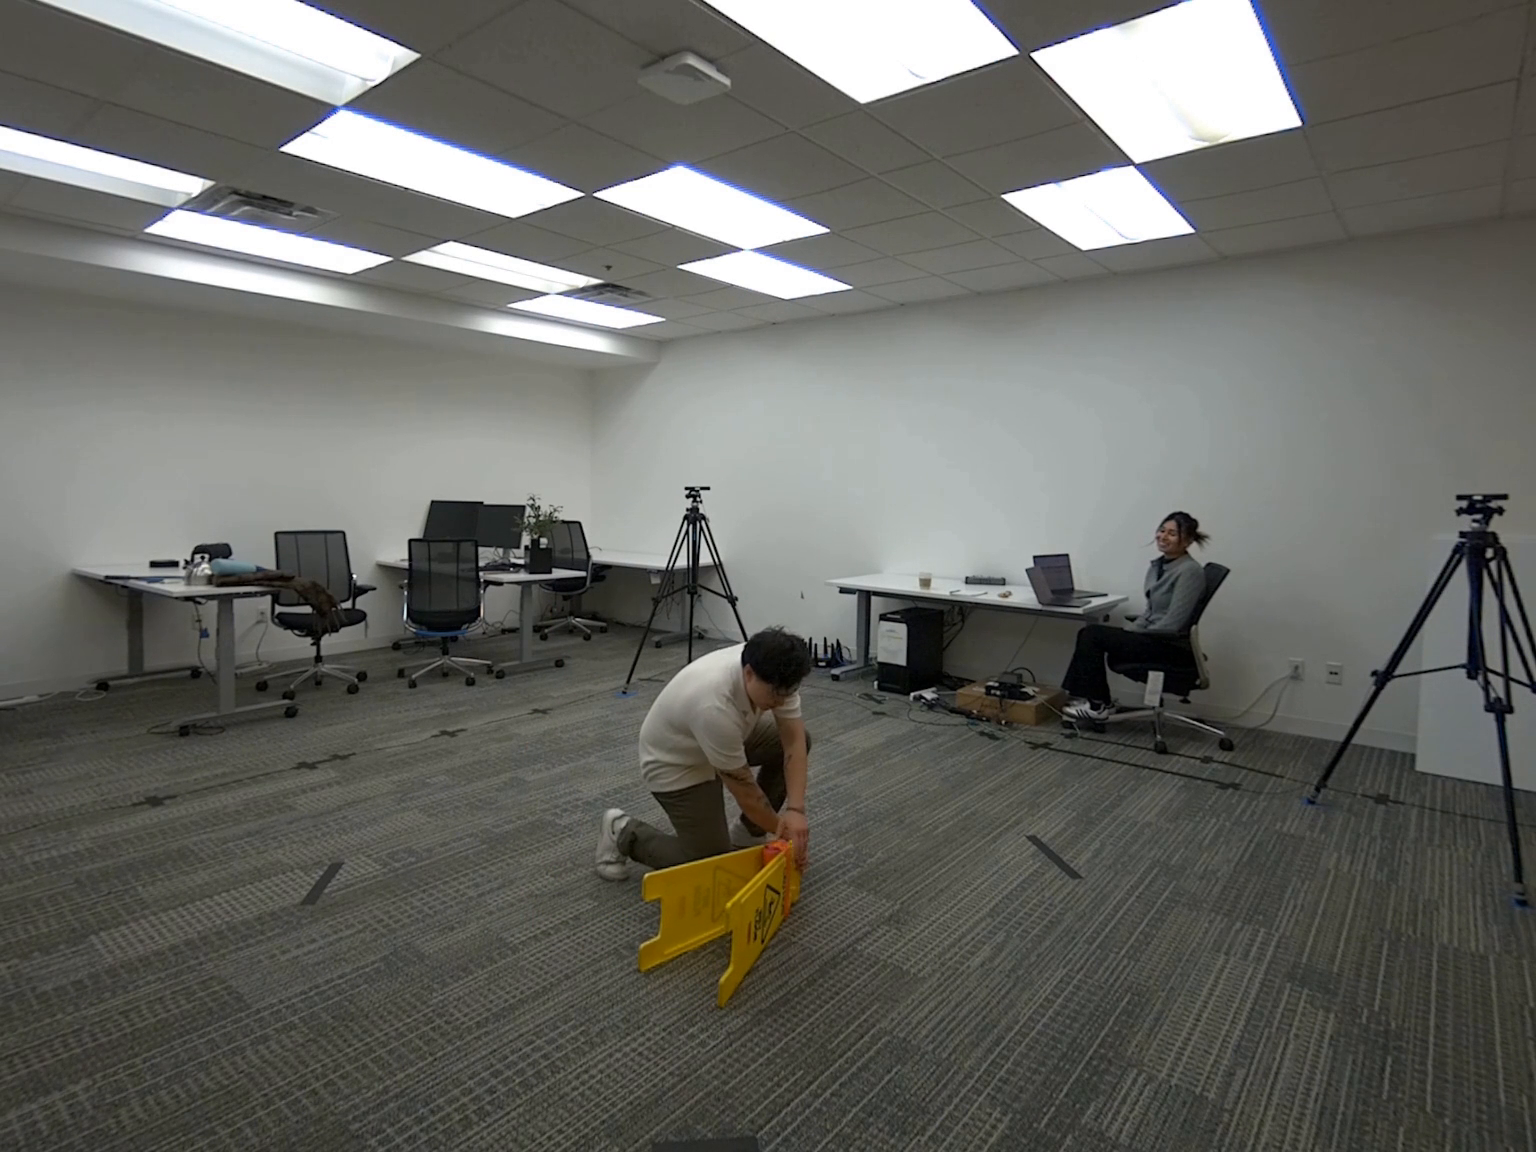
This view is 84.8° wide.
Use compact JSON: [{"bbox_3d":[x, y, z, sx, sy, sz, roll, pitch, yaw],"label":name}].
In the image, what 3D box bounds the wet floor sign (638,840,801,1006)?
[{"bbox_3d":[-0.084,0.989,2.609,0.299,0.282,0.627,5,4,32],"label":"wet floor sign"}]
